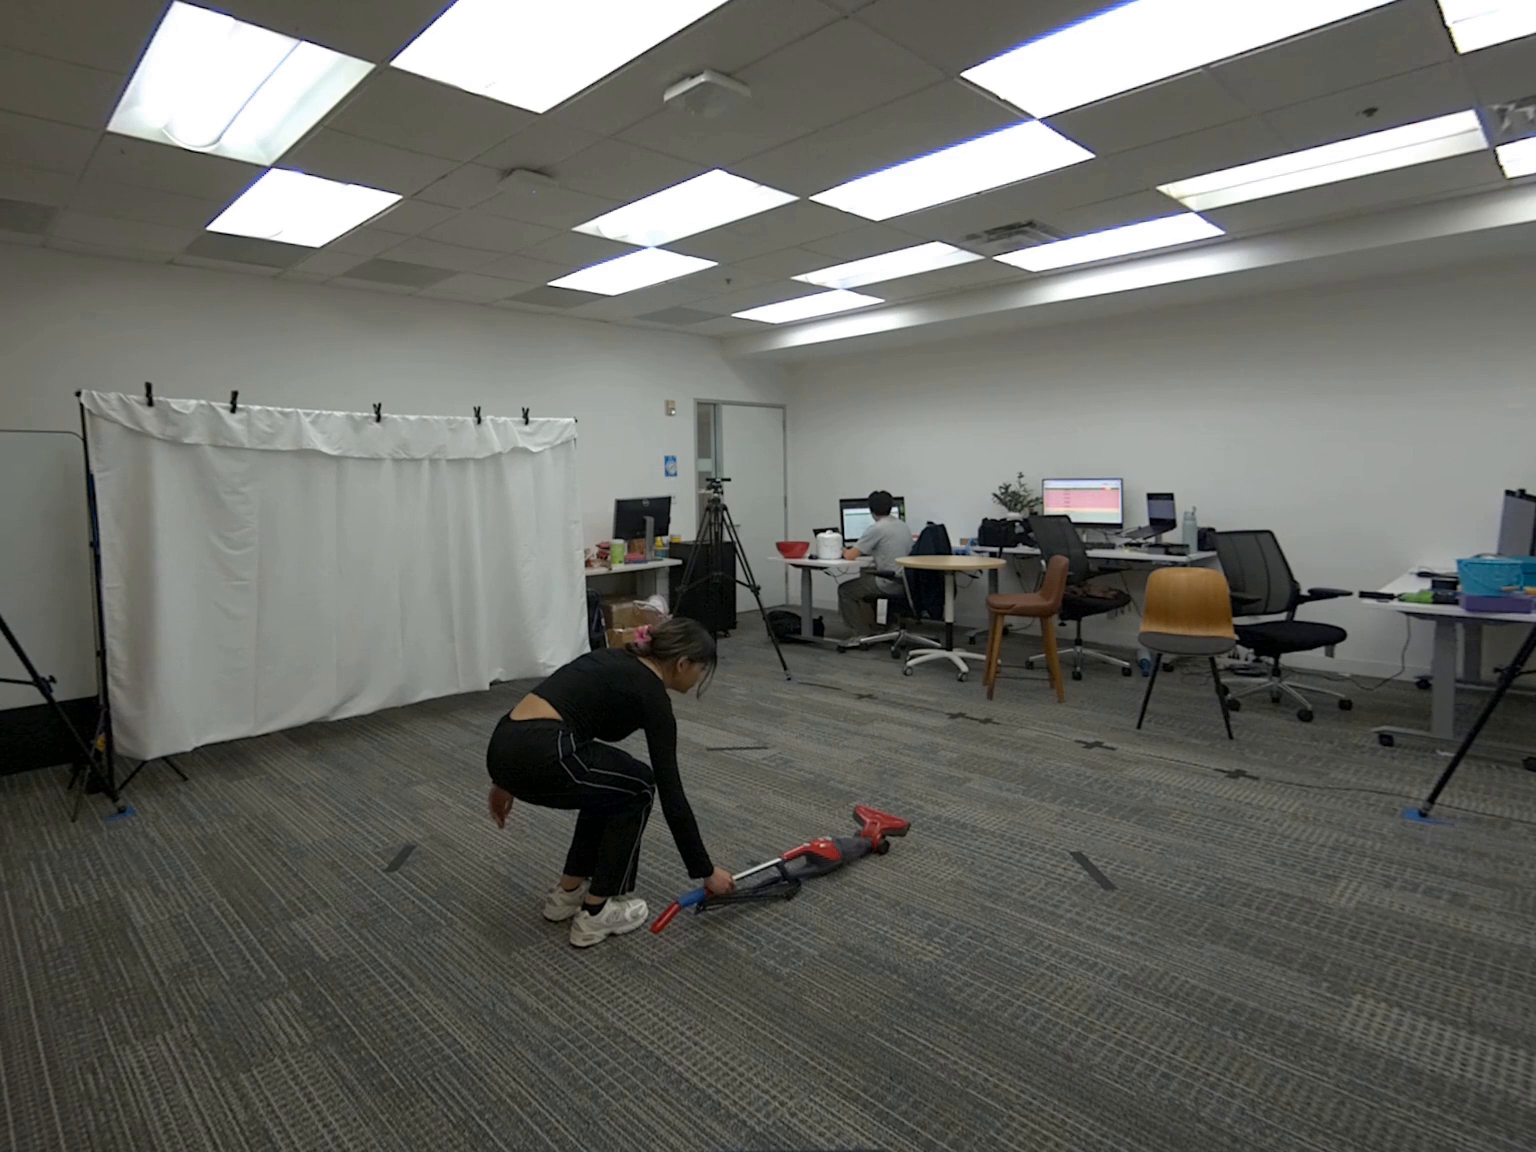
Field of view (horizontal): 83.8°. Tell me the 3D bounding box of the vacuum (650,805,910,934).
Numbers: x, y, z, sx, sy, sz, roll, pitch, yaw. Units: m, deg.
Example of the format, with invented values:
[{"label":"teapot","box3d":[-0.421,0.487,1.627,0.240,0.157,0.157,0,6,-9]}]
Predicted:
[{"label":"vacuum","box3d":[0.053,1.009,2.889,1.023,0.143,0.260,-8,10,-42]}]
